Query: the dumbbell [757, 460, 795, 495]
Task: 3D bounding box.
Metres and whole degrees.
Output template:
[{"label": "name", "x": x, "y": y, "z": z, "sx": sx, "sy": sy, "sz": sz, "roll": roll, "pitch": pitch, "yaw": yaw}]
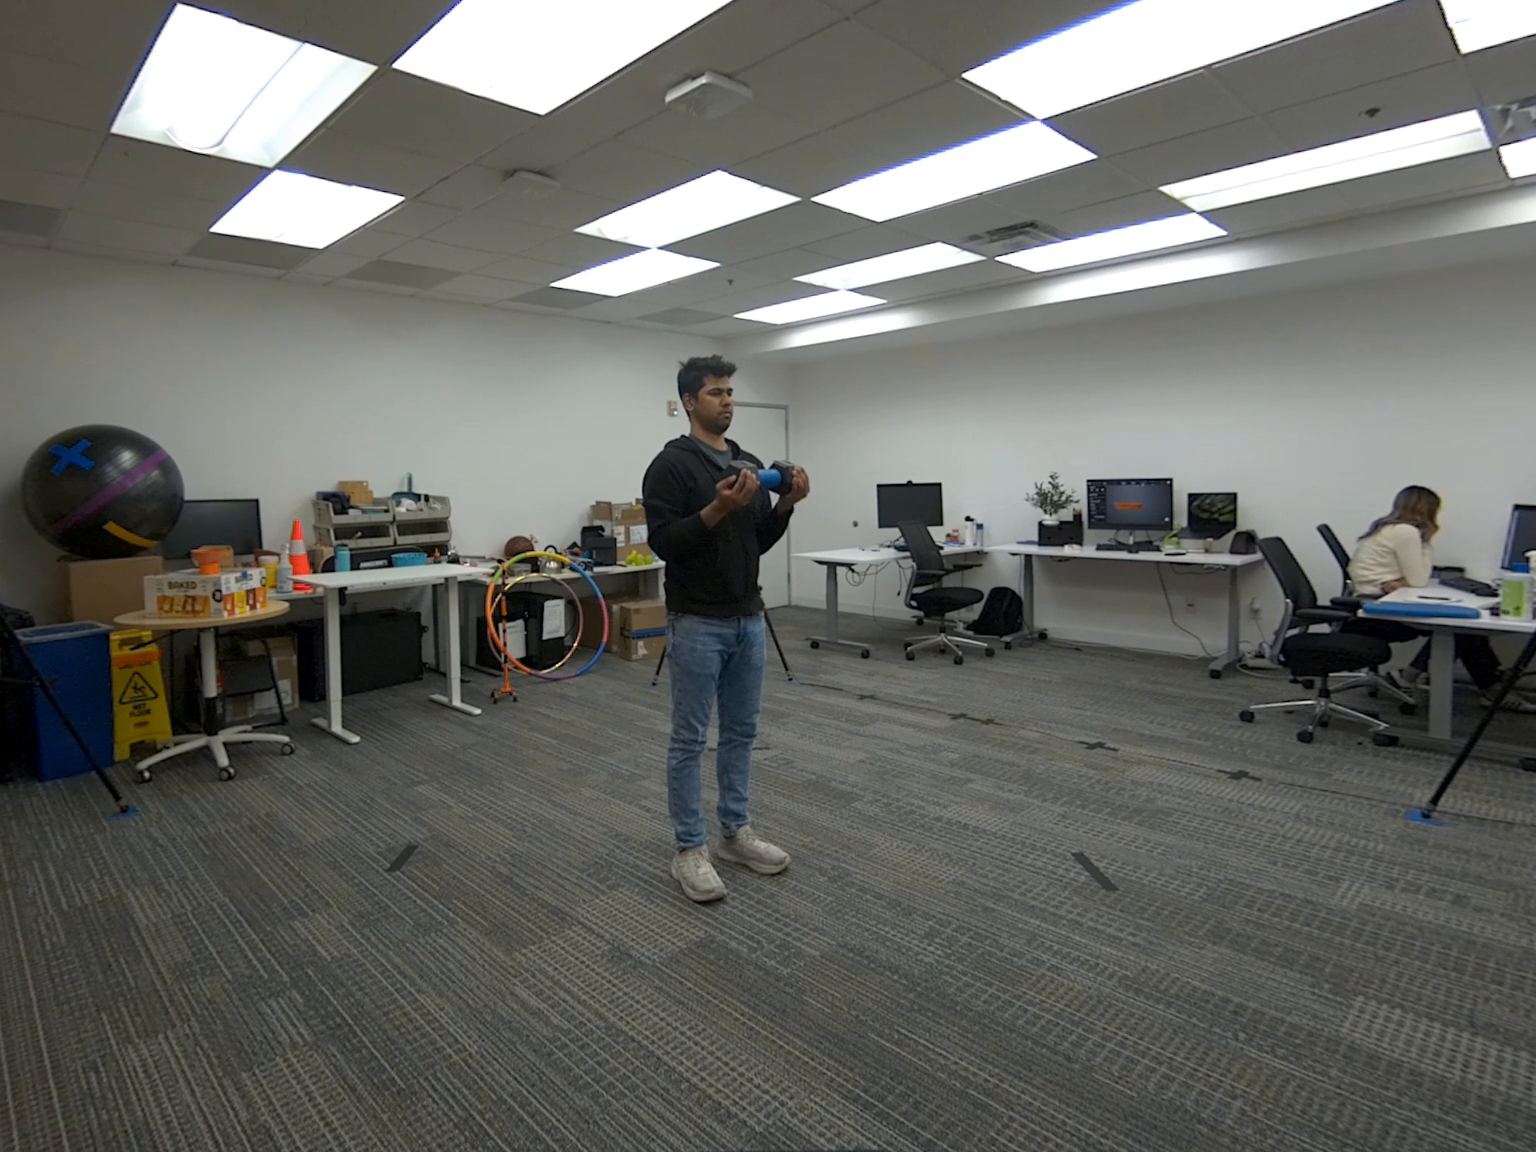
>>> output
[{"label": "dumbbell", "x": -0.026, "y": -0.310, "z": 2.820, "sx": 0.127, "sy": 0.107, "sz": 0.286, "roll": 26, "pitch": 22, "yaw": 37}]
